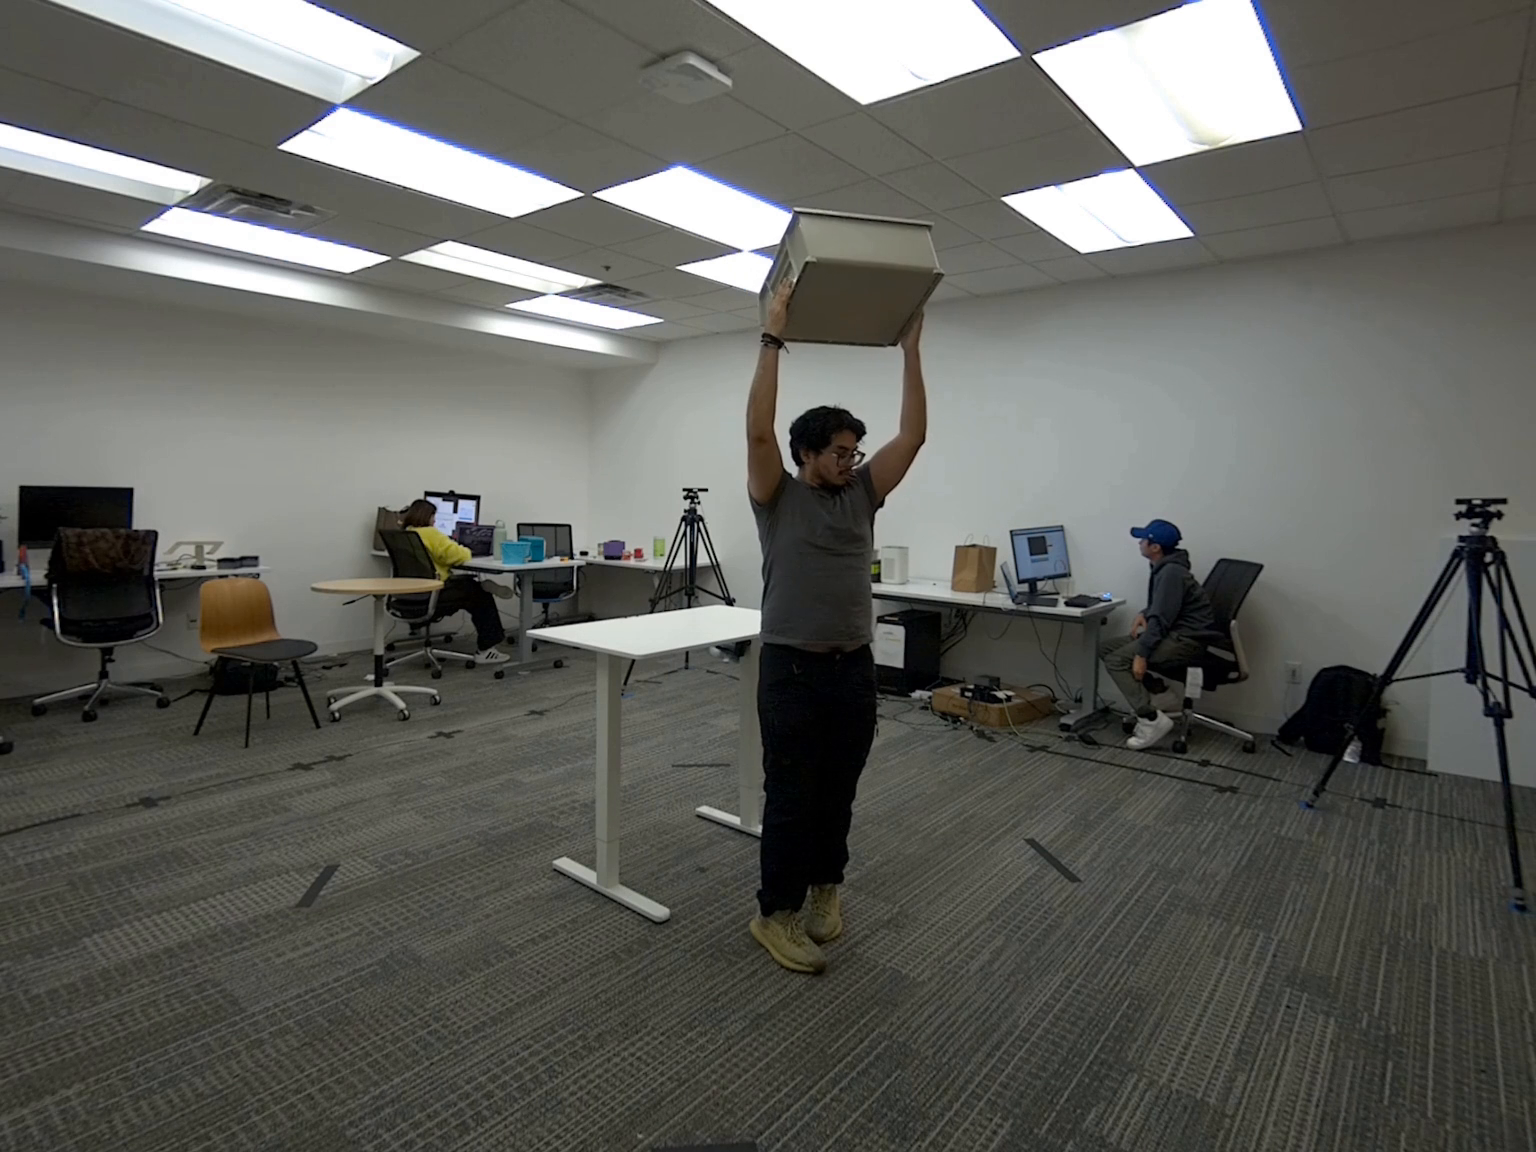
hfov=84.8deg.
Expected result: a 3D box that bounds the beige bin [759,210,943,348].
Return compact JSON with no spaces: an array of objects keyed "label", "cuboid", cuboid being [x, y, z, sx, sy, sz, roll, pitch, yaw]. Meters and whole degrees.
[{"label":"beige bin","cuboid":[0.217,-0.834,2.452,0.415,0.194,0.375,0,-25,-18]}]
